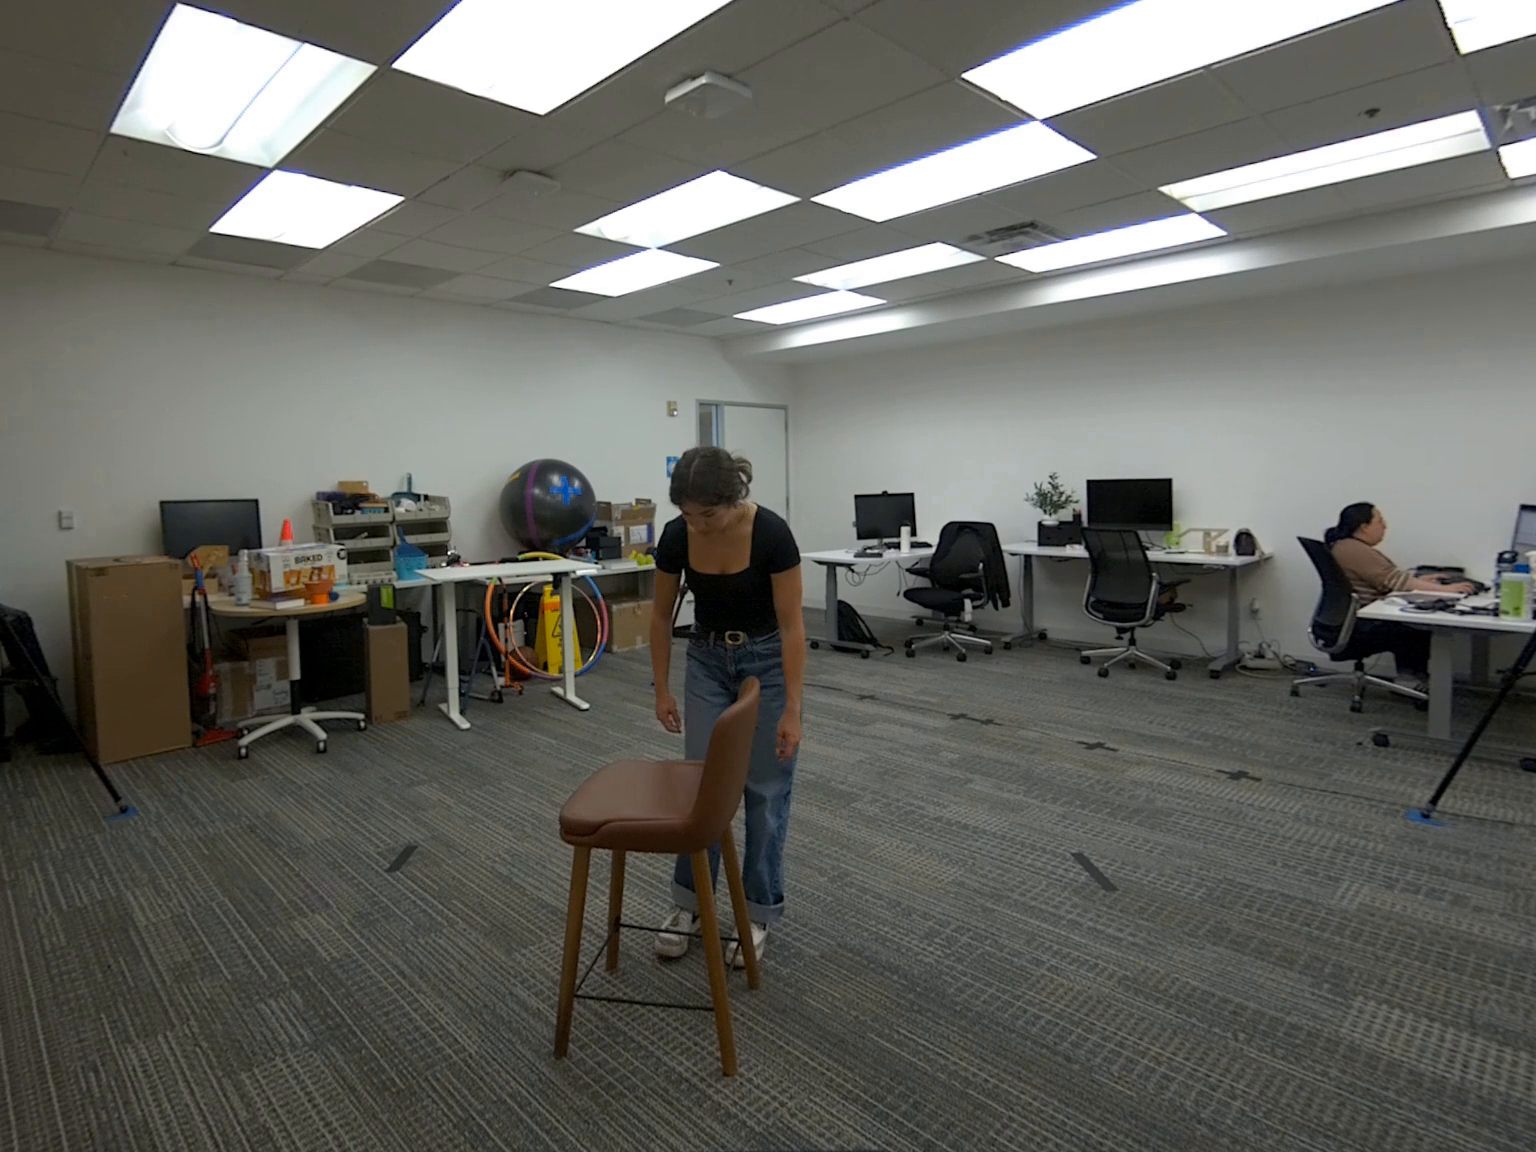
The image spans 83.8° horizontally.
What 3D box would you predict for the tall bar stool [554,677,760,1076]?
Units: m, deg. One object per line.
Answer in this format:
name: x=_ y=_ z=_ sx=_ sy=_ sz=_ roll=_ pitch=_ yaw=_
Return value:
tall bar stool: x=-0.272 y=0.725 z=2.196 sx=0.473 sy=0.886 sz=0.453 roll=2 pitch=5 yaw=11
